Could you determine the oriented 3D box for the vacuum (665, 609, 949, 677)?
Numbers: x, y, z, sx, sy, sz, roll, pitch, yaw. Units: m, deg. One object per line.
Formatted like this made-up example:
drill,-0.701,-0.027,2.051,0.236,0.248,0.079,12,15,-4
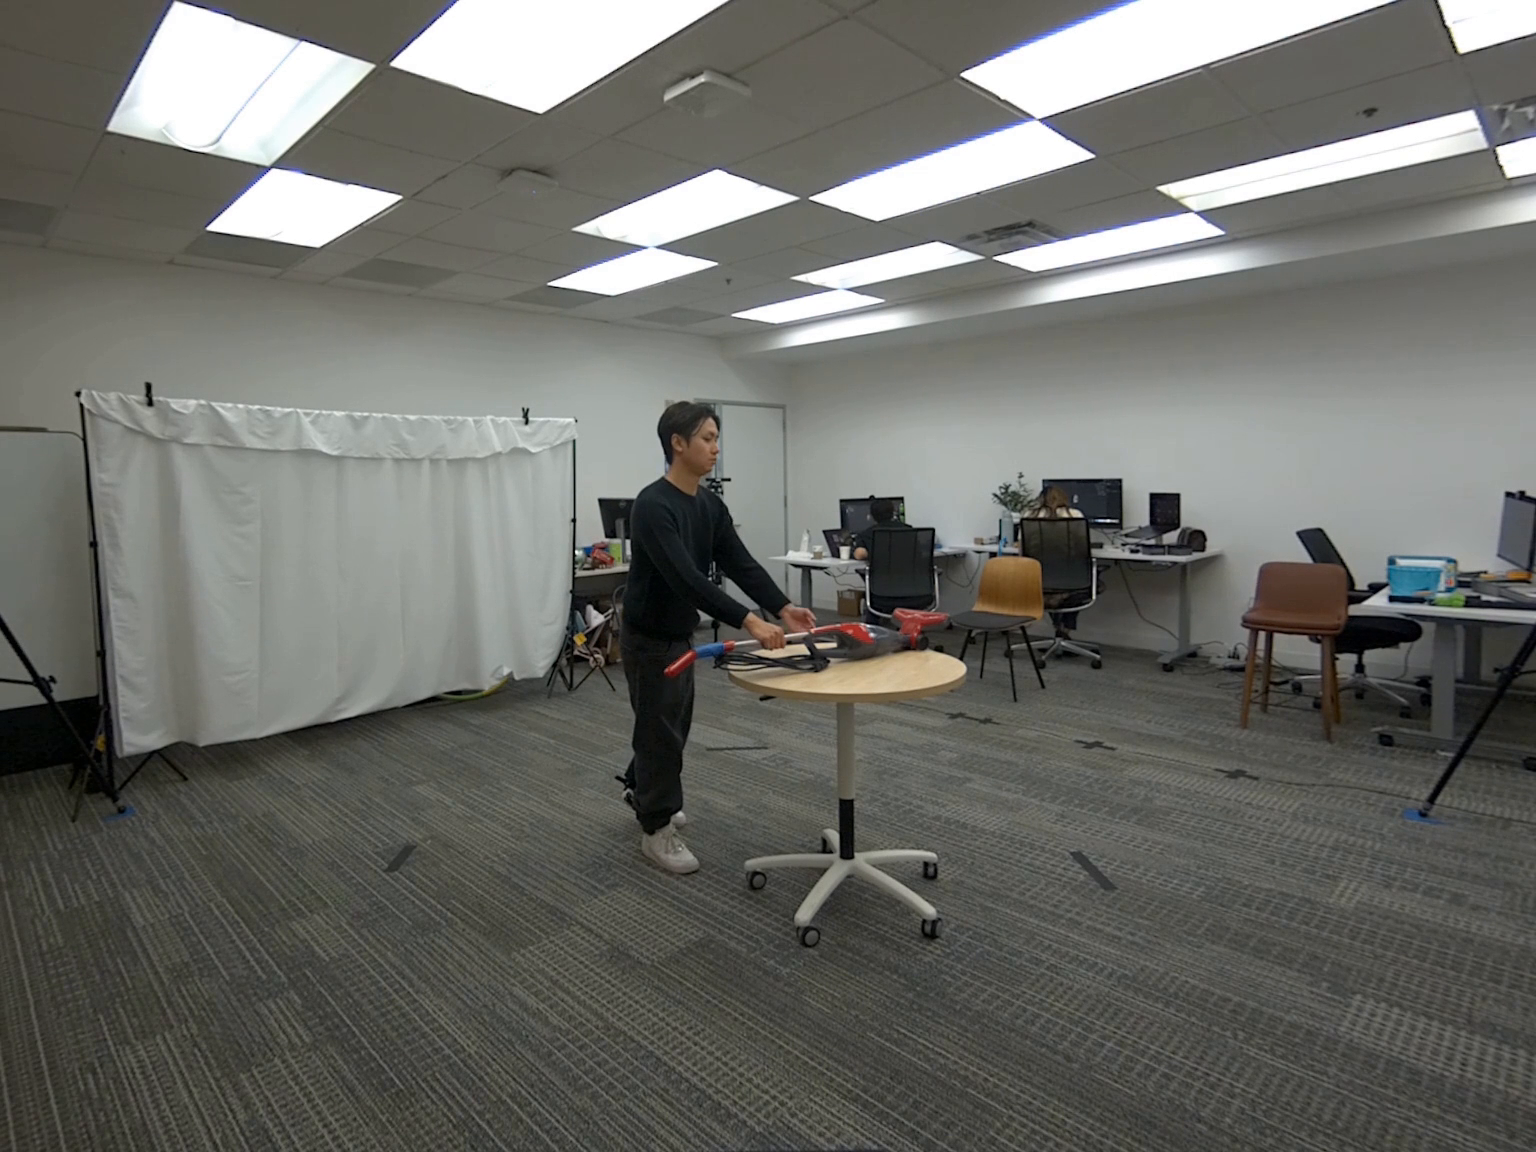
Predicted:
vacuum,0.126,0.249,2.741,1.022,0.143,0.260,-4,7,-36
